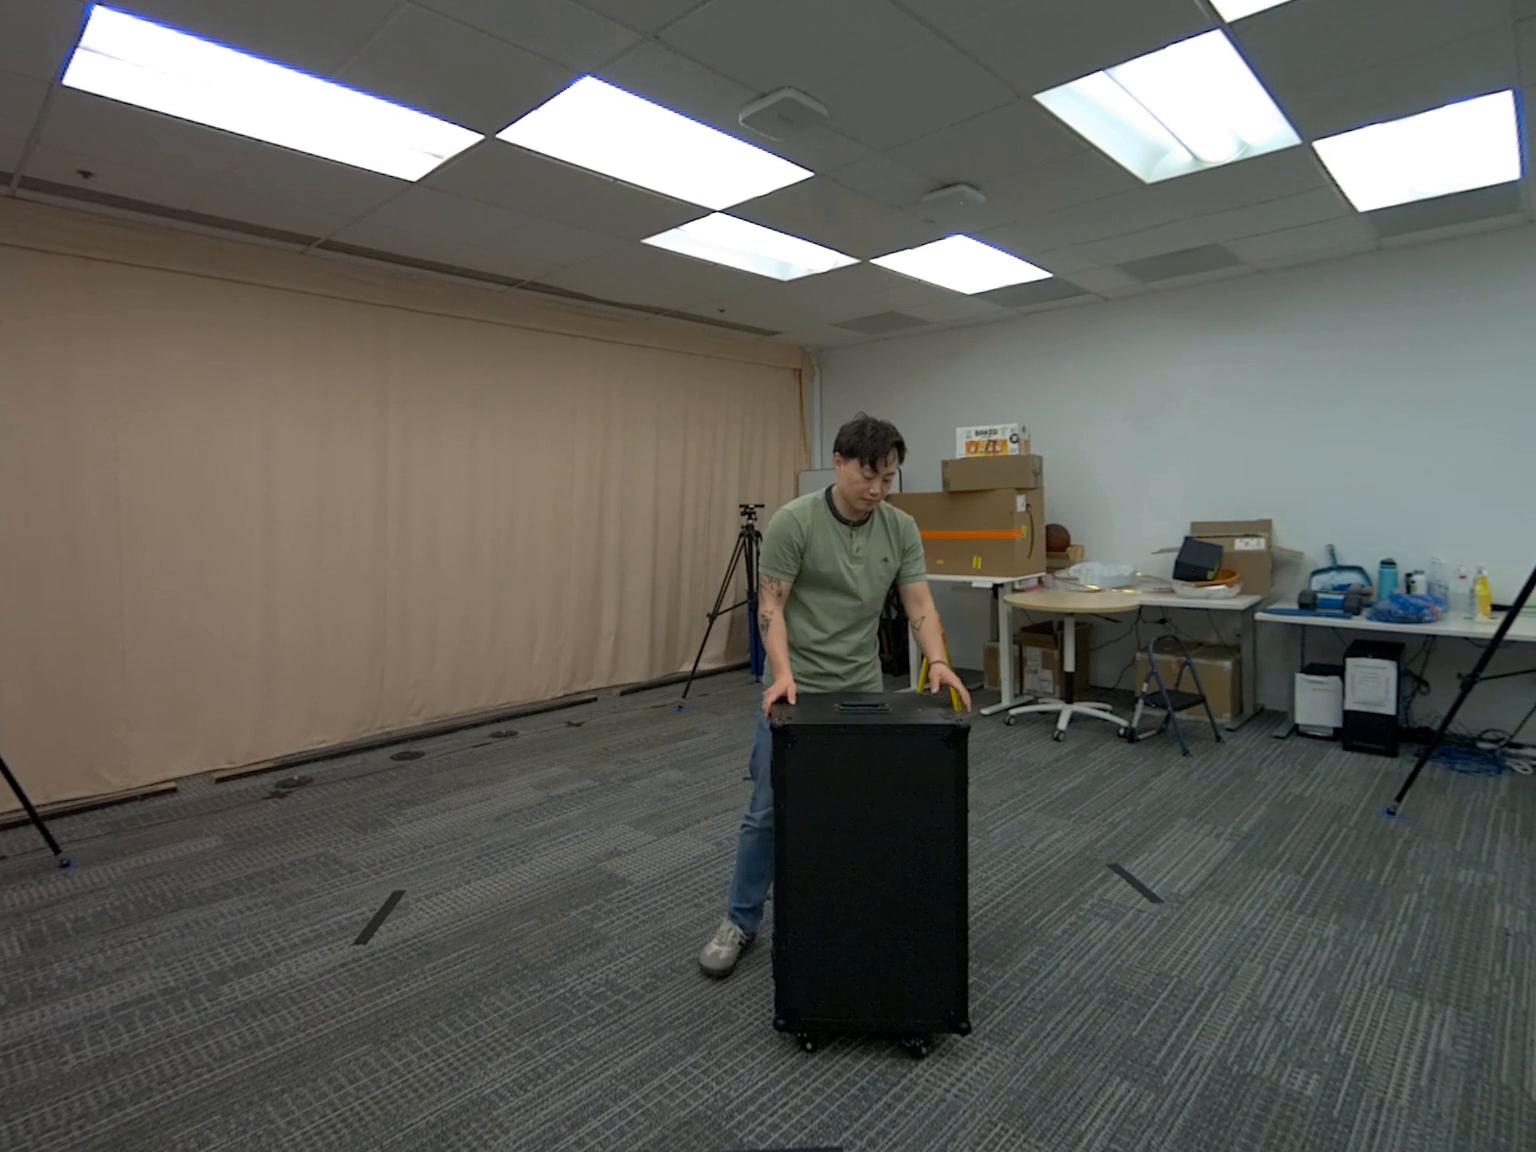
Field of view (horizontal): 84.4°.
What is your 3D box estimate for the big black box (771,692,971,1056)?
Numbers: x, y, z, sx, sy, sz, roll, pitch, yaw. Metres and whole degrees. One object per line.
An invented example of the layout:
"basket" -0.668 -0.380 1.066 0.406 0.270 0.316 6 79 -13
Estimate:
"big black box" 0.260 0.777 2.265 0.523 0.860 0.395 -1 2 3
